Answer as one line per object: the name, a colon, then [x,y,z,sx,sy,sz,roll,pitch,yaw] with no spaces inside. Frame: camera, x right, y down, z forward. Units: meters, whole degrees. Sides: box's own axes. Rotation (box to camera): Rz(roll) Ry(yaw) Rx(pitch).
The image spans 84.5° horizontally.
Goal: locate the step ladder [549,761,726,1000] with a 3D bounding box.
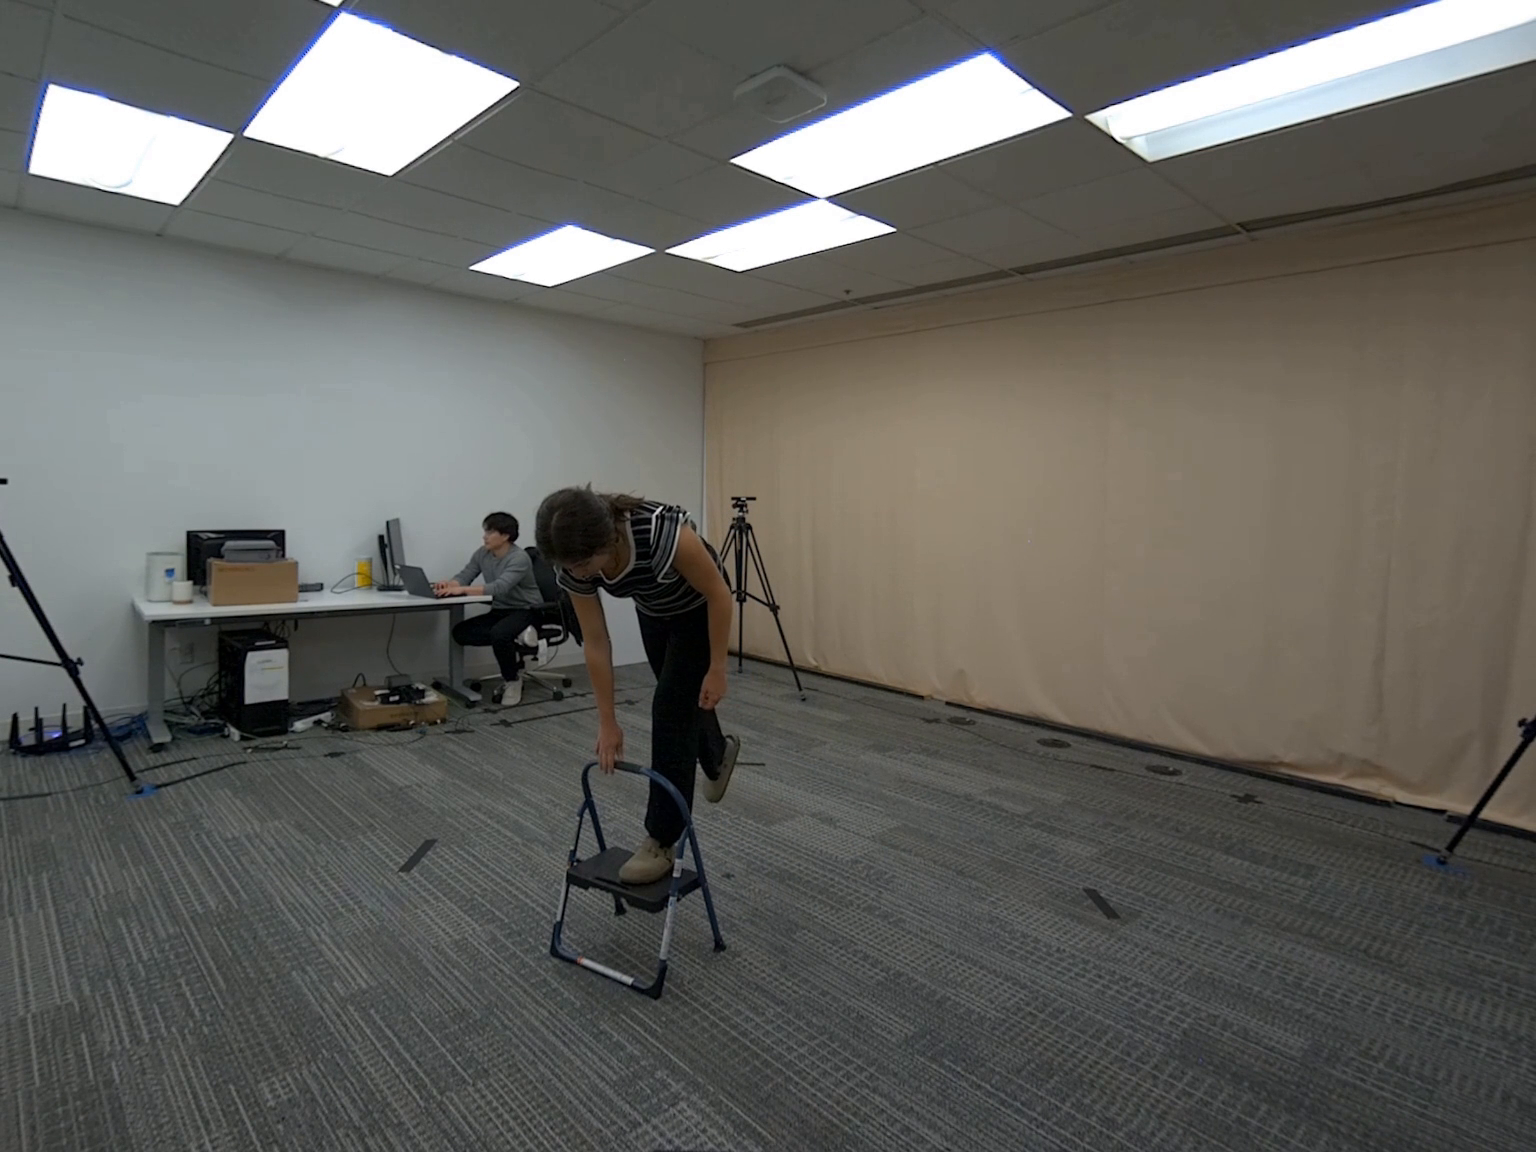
step ladder: [-0.400,0.852,2.559,0.440,0.605,0.342,3,4,31]
